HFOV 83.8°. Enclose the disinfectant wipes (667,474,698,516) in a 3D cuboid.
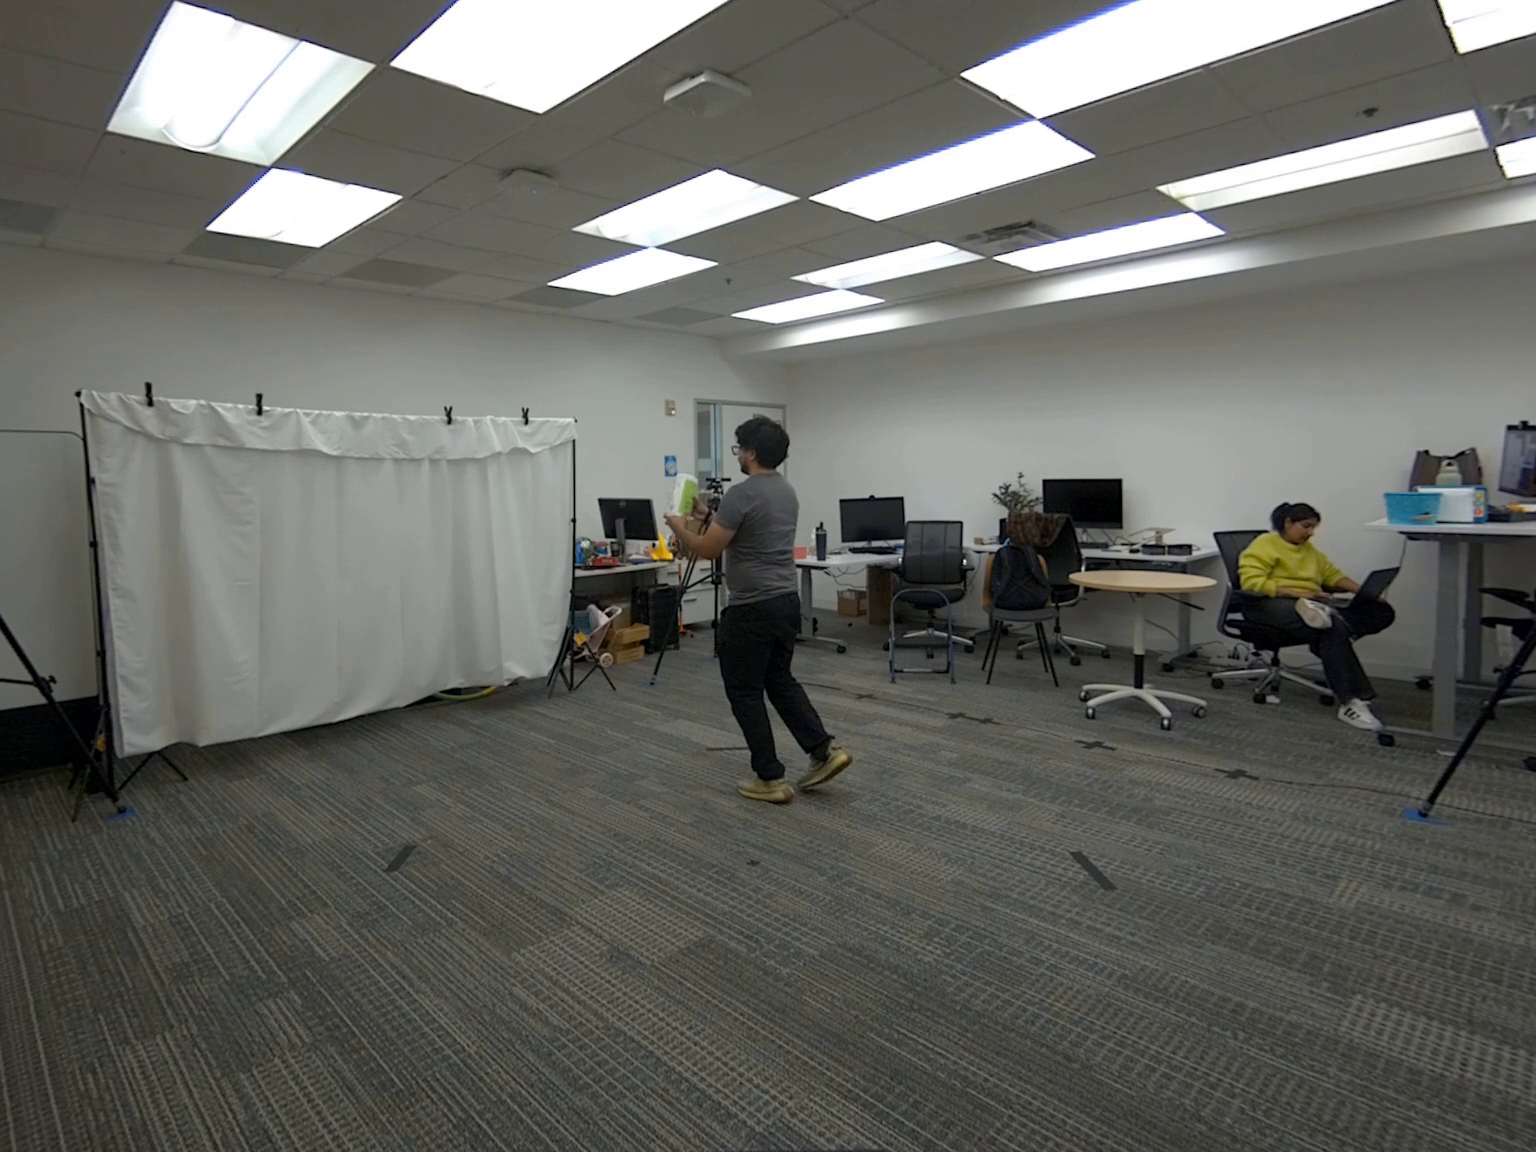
[{"bbox_3d":[-0.390,-0.355,3.939,0.118,0.220,0.116,10,-19,2],"label":"disinfectant wipes"}]
